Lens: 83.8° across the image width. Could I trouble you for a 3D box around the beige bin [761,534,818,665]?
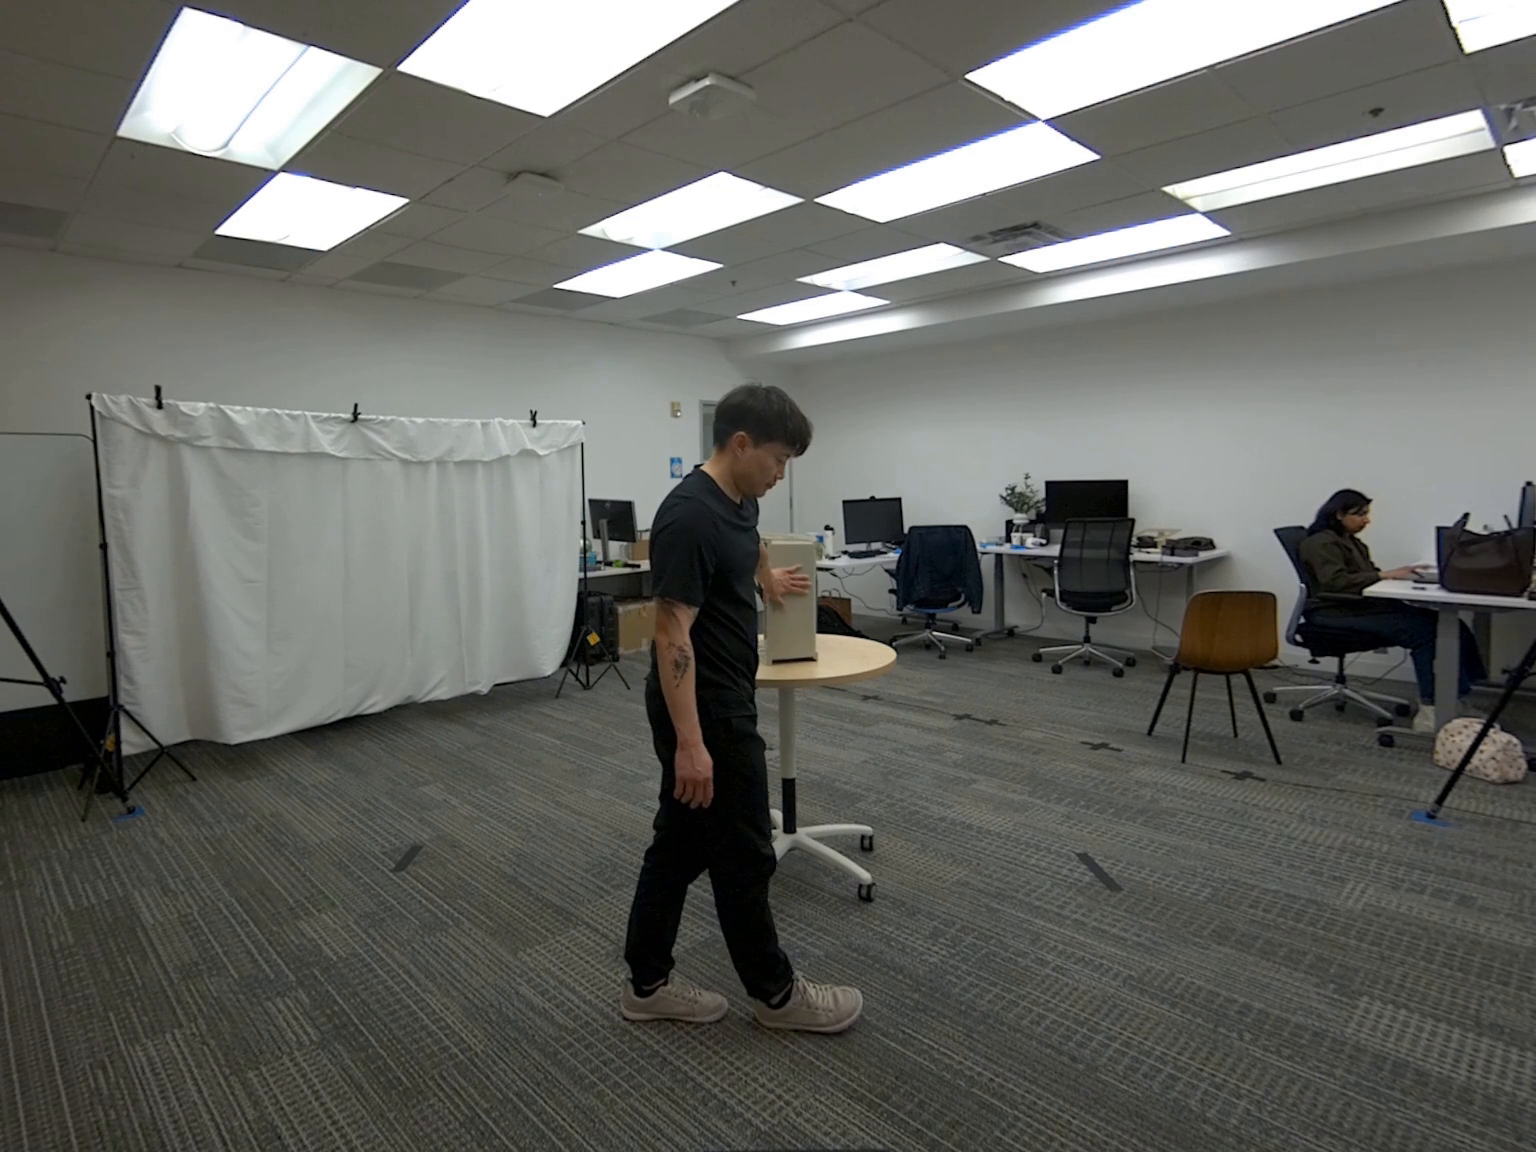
[{"bbox_3d":[0.035,0.063,3.008,0.186,0.421,0.384,0,4,-15],"label":"beige bin"}]
